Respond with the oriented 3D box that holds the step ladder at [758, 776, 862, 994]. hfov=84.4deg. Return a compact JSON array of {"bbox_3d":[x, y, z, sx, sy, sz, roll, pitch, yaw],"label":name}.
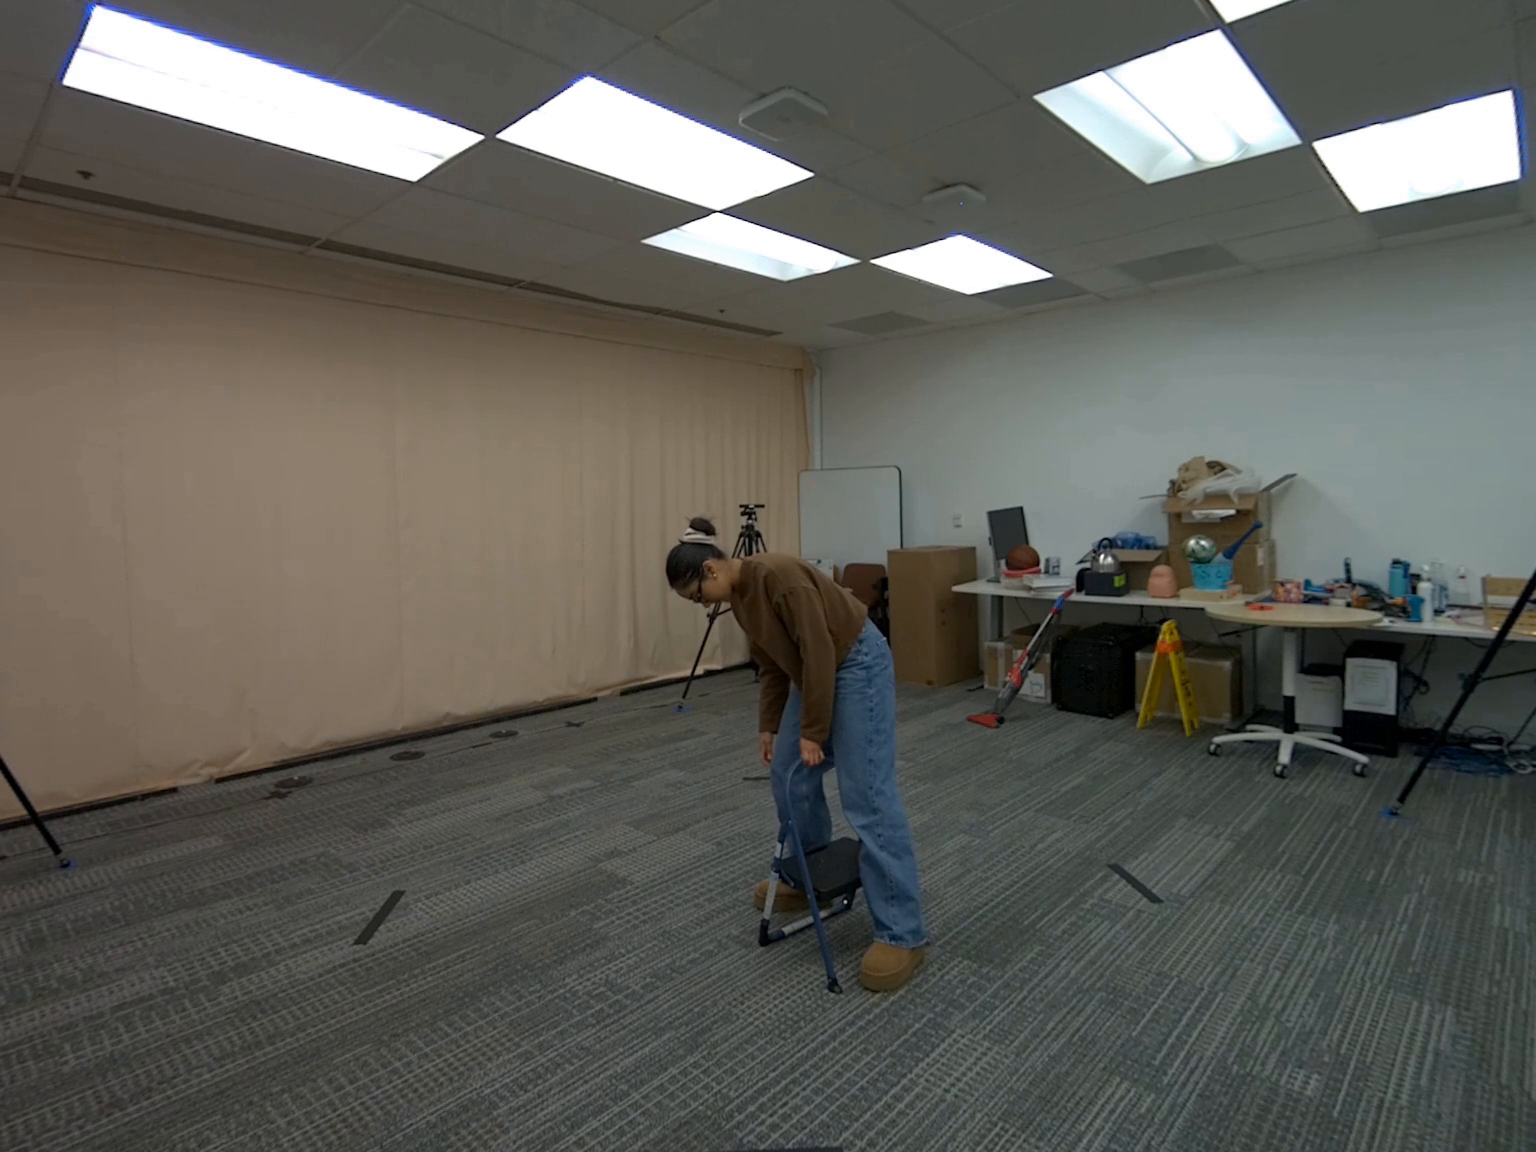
[{"bbox_3d":[0.229,0.866,2.641,0.417,0.605,0.360,-3,4,-40],"label":"step ladder"}]
